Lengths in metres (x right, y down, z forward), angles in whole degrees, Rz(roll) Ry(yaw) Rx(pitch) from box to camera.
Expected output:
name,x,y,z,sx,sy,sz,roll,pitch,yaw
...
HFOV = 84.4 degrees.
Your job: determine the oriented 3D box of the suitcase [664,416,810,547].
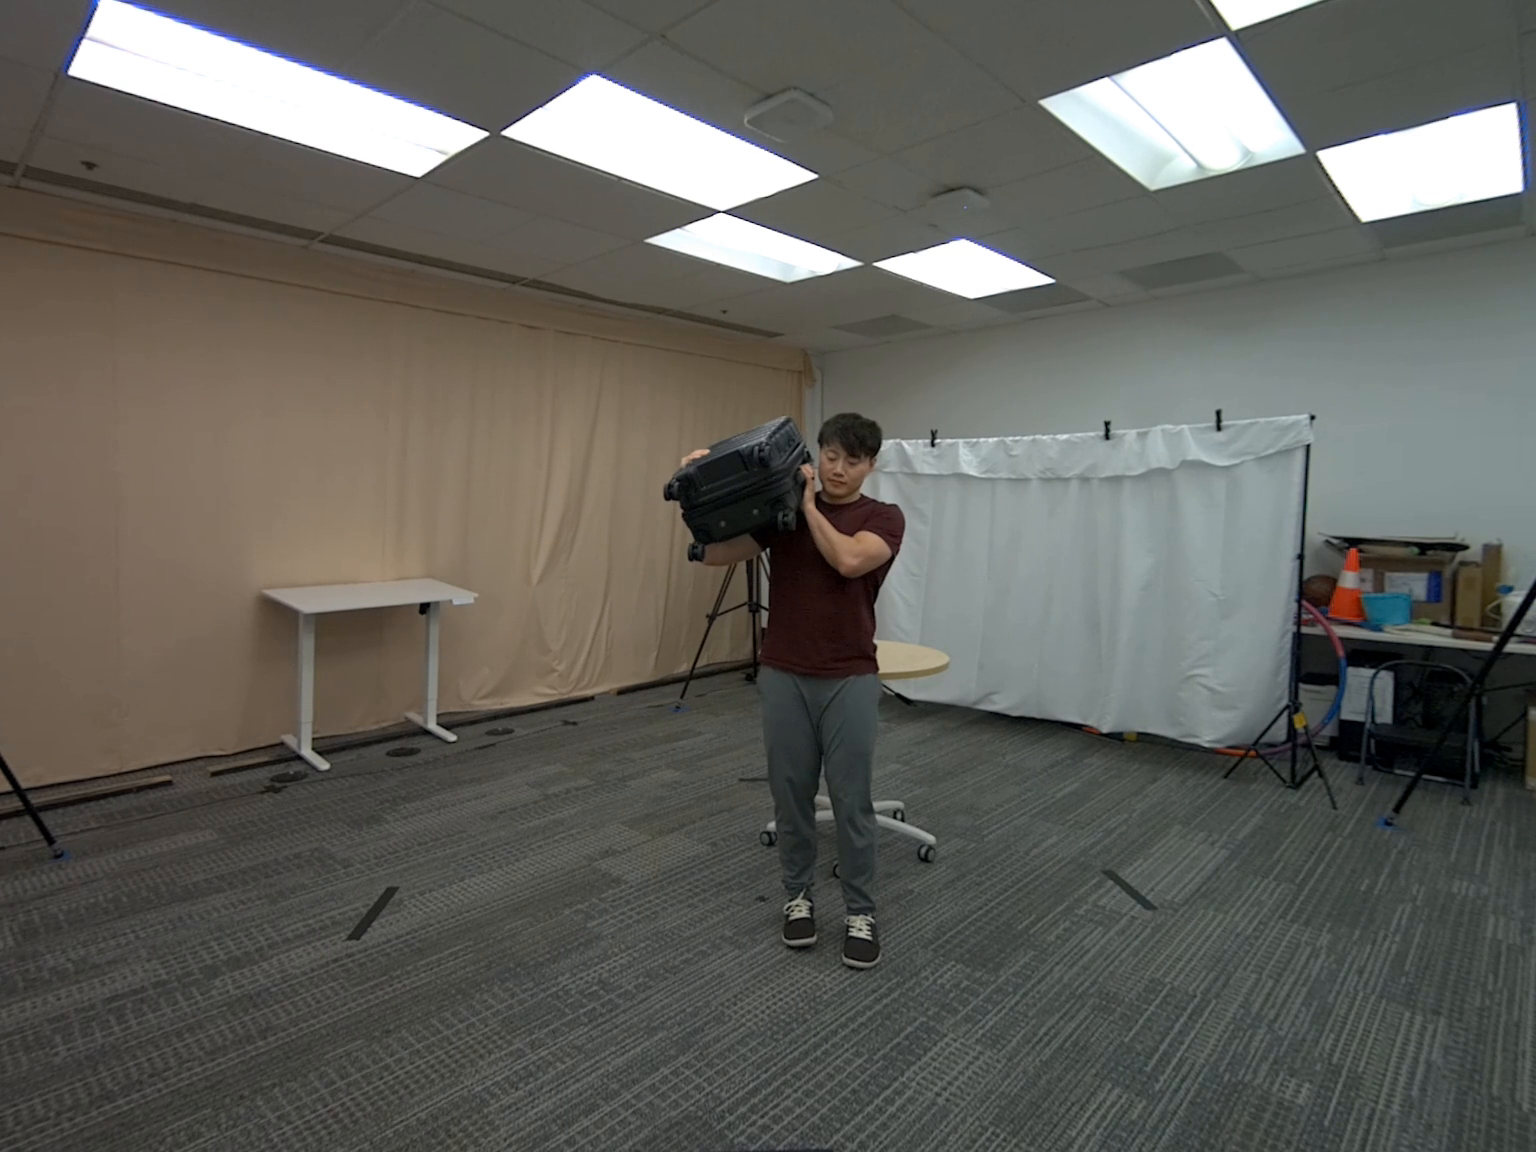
name,x,y,z,sx,sy,sz,roll,pitch,yaw
suitcase,-0.027,-0.380,2.837,0.389,0.253,0.978,-20,16,18
